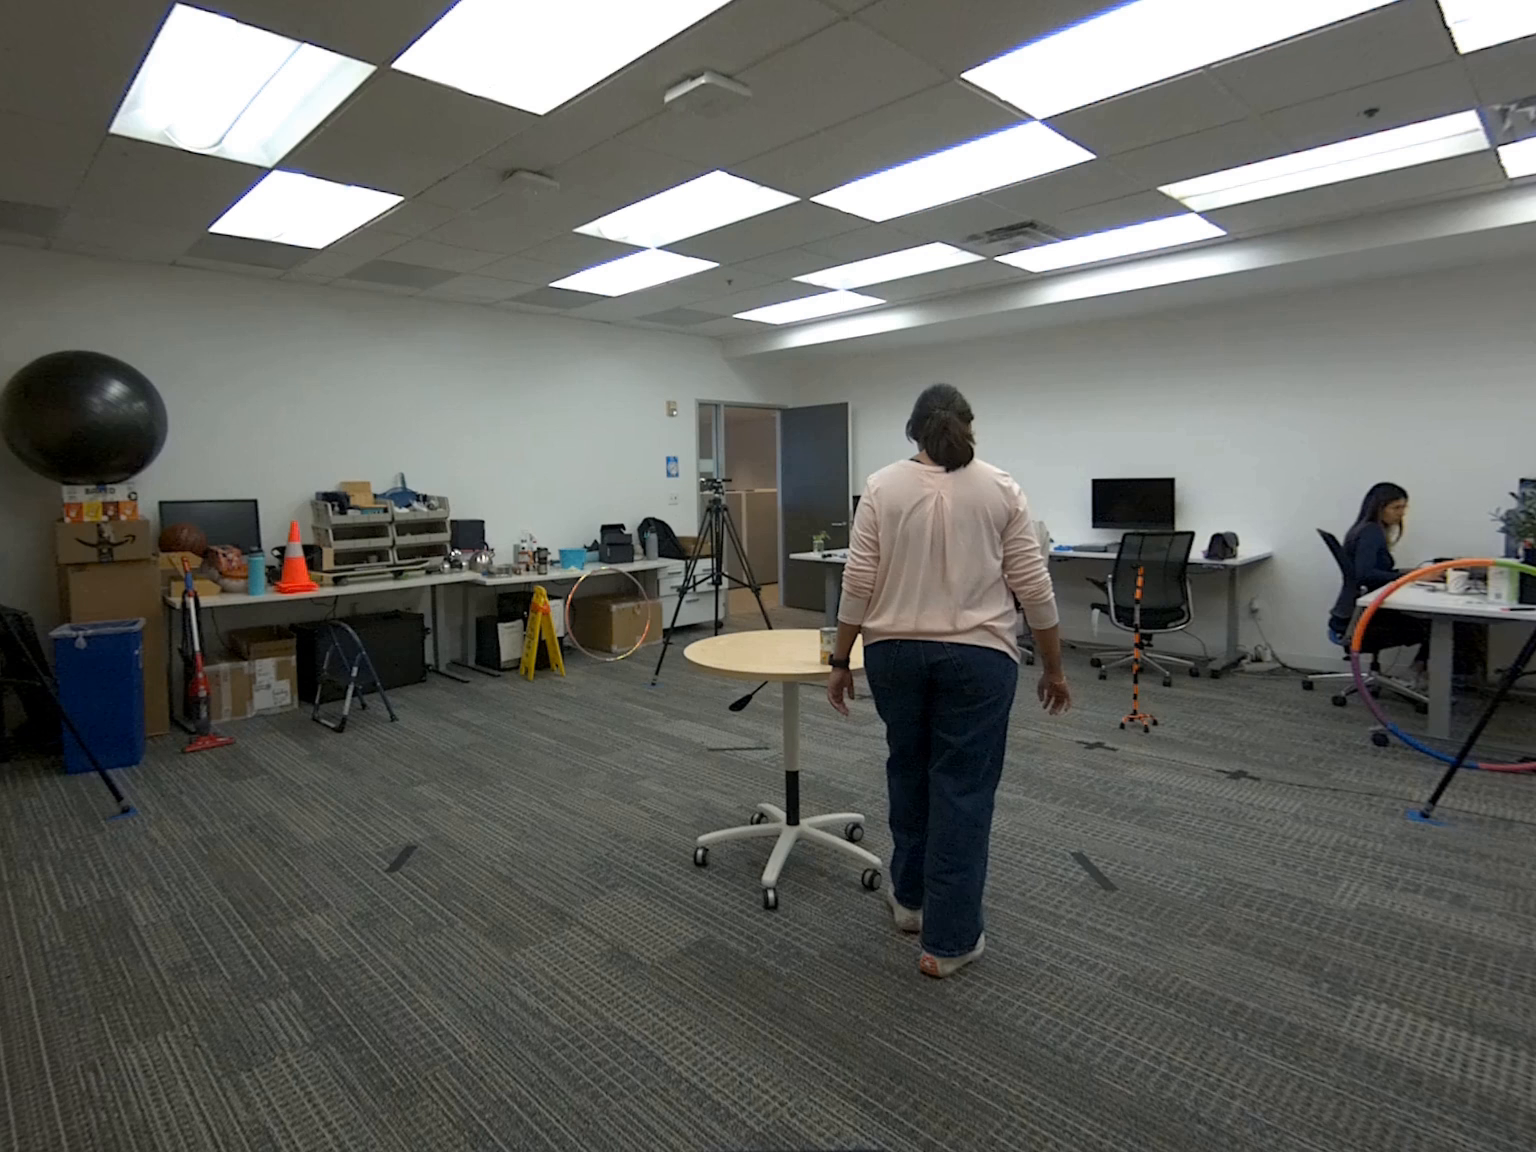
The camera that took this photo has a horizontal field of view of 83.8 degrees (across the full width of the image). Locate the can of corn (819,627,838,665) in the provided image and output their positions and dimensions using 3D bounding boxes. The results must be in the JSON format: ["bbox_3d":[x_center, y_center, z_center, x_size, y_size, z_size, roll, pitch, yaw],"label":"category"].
[{"bbox_3d":[0.216,0.232,2.820,0.074,0.110,0.075,0,7,-2],"label":"can of corn"}]
